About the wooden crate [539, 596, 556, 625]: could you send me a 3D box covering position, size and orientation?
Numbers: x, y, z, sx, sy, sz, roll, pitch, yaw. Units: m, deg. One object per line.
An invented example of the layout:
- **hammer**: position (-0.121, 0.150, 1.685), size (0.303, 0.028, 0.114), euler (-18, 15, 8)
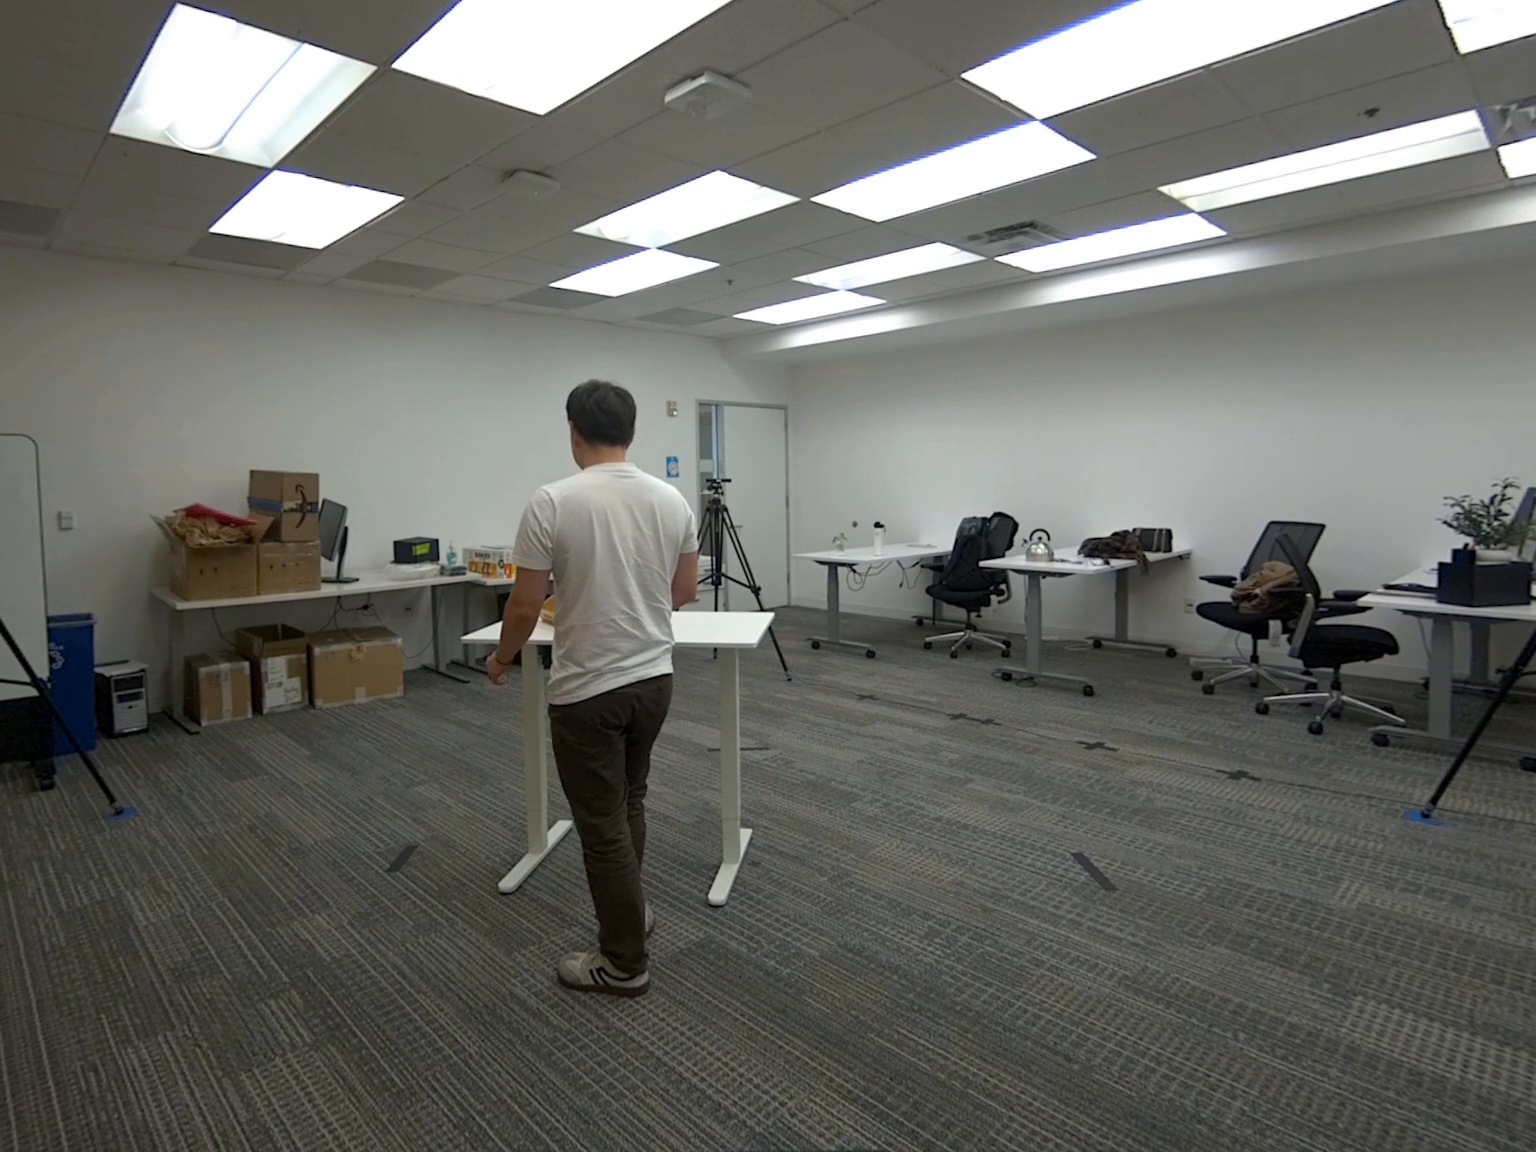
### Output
- **wooden crate**: position (-0.651, 0.038, 3.134), size (0.294, 0.272, 0.334), euler (-4, 6, -34)
